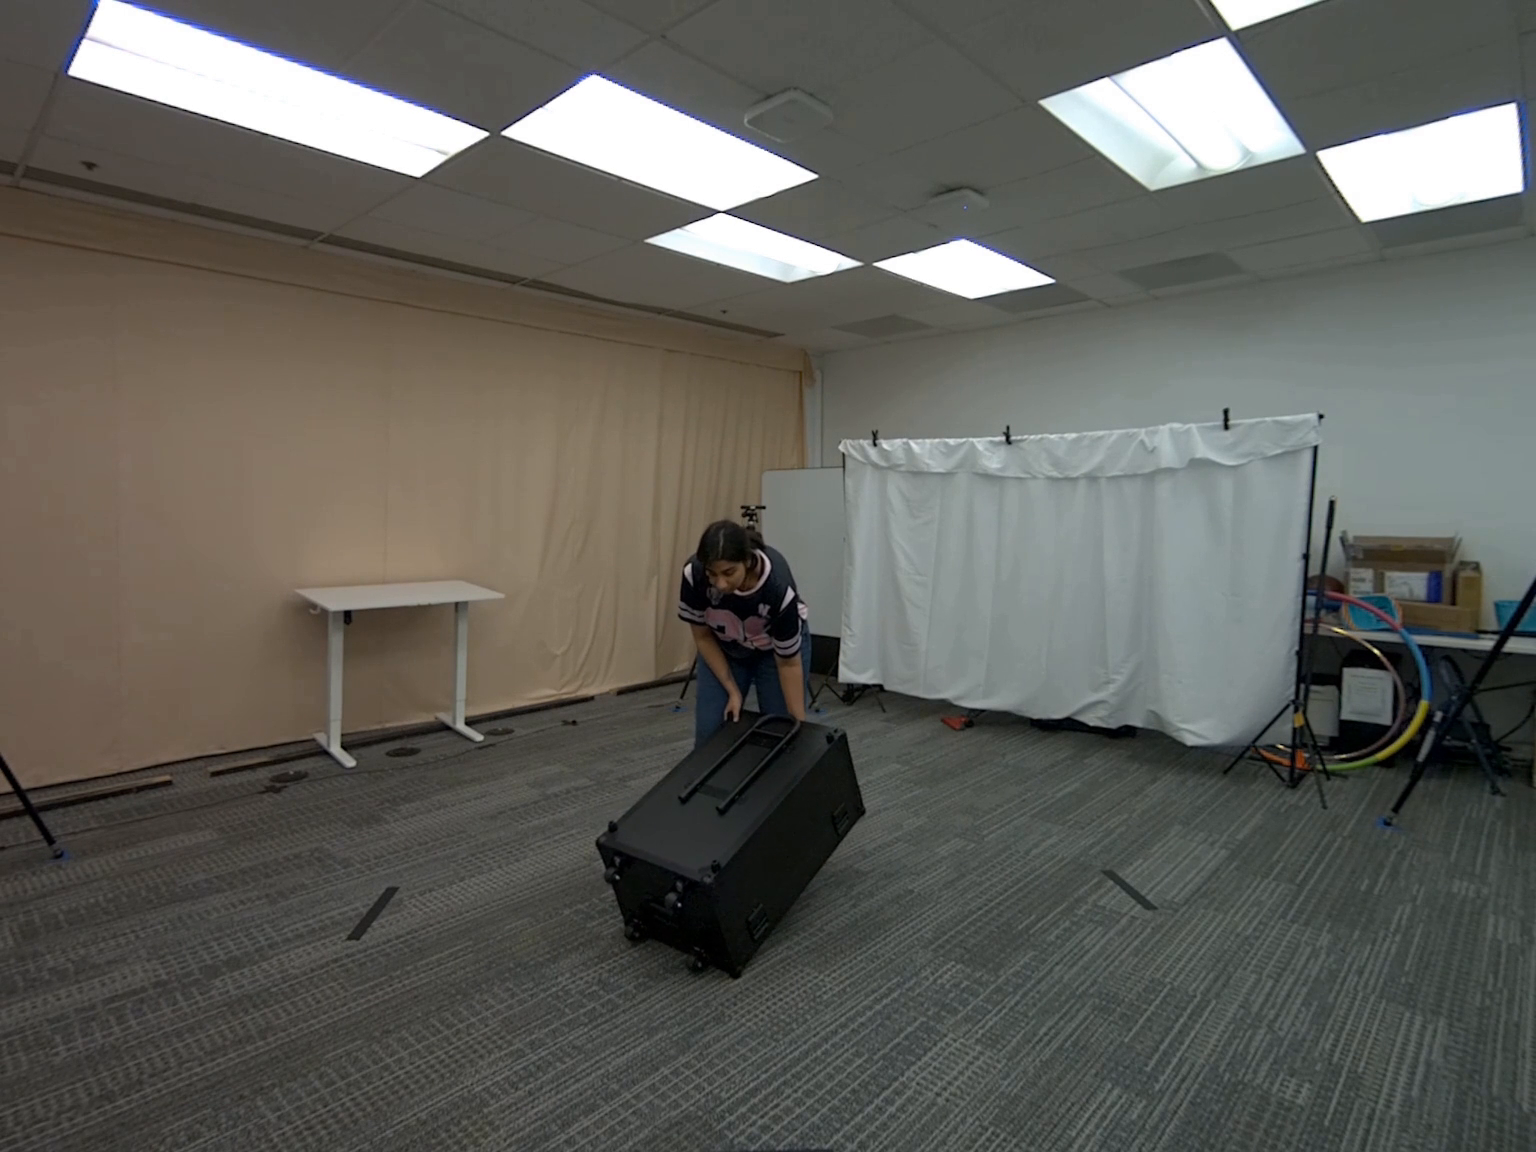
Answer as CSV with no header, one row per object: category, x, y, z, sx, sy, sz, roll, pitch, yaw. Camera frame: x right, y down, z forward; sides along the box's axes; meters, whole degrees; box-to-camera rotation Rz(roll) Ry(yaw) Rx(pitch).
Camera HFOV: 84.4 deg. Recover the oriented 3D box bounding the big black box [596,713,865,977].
big black box,-0.116,0.858,2.804,0.541,0.378,0.855,5,30,39
